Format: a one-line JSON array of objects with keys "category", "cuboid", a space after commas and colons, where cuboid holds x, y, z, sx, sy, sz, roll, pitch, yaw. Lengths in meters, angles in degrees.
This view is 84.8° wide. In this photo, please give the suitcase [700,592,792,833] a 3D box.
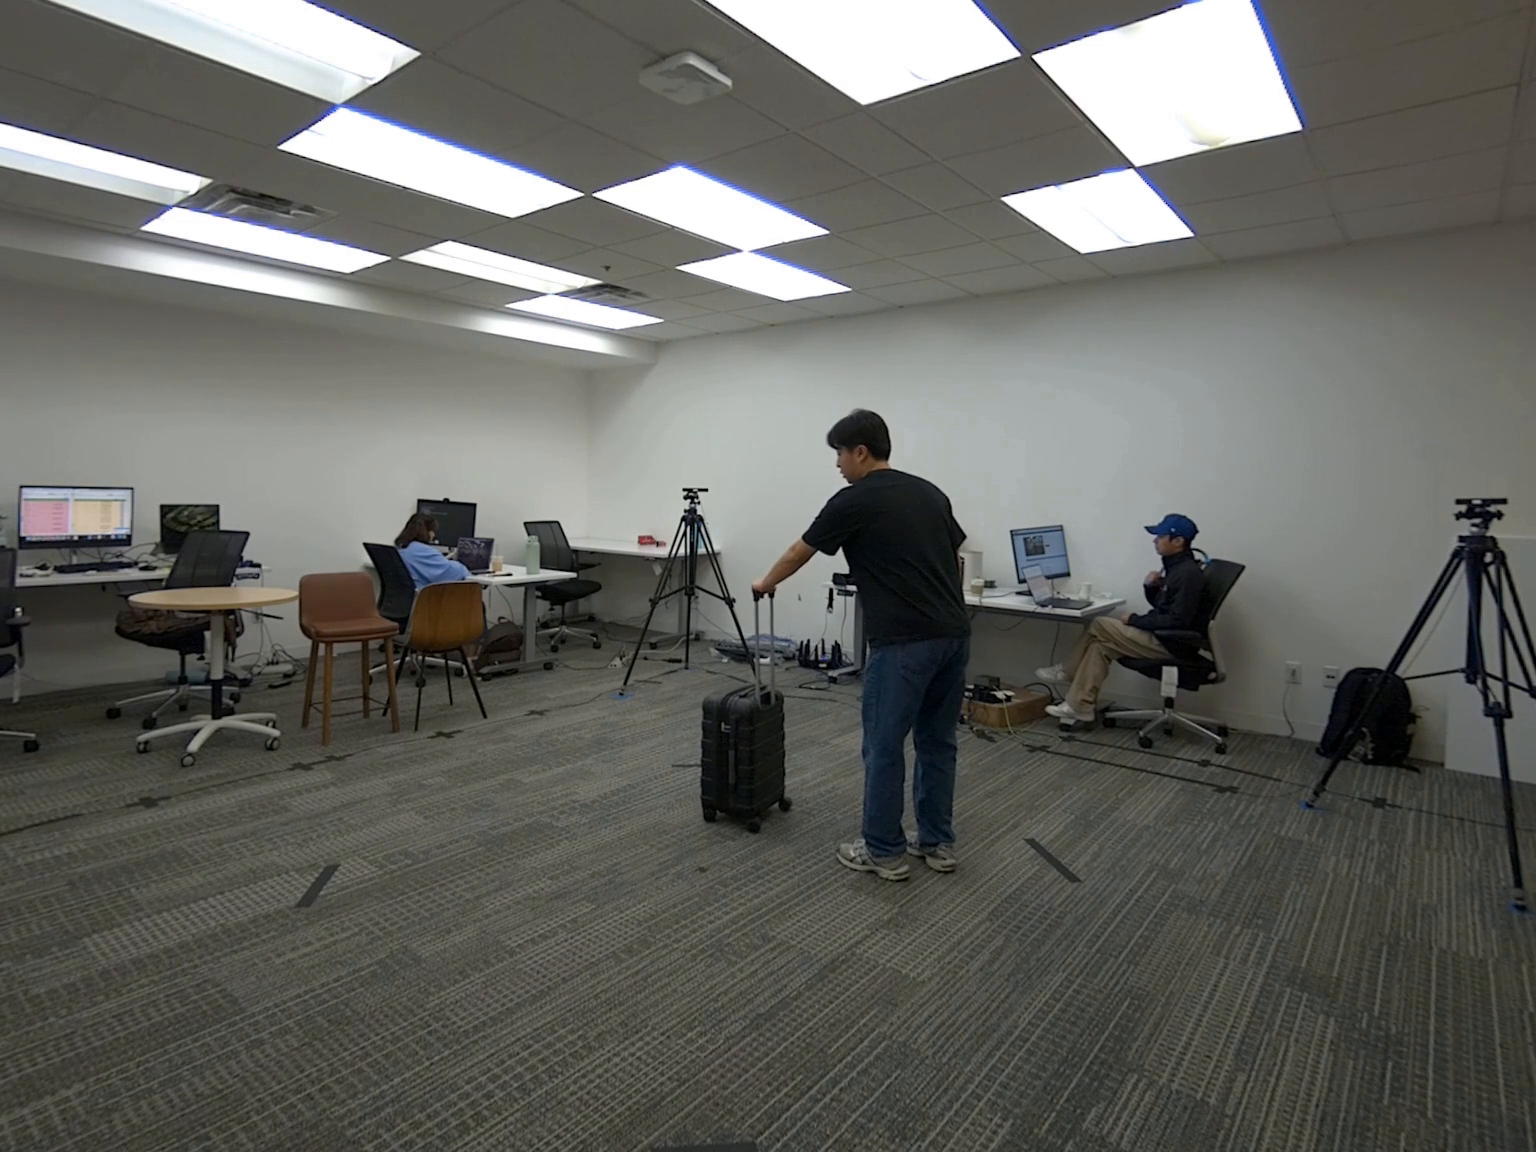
[{"category": "suitcase", "cuboid": [-0.115, 0.545, 3.633, 0.264, 0.978, 0.374, -3, 1, 30]}]
